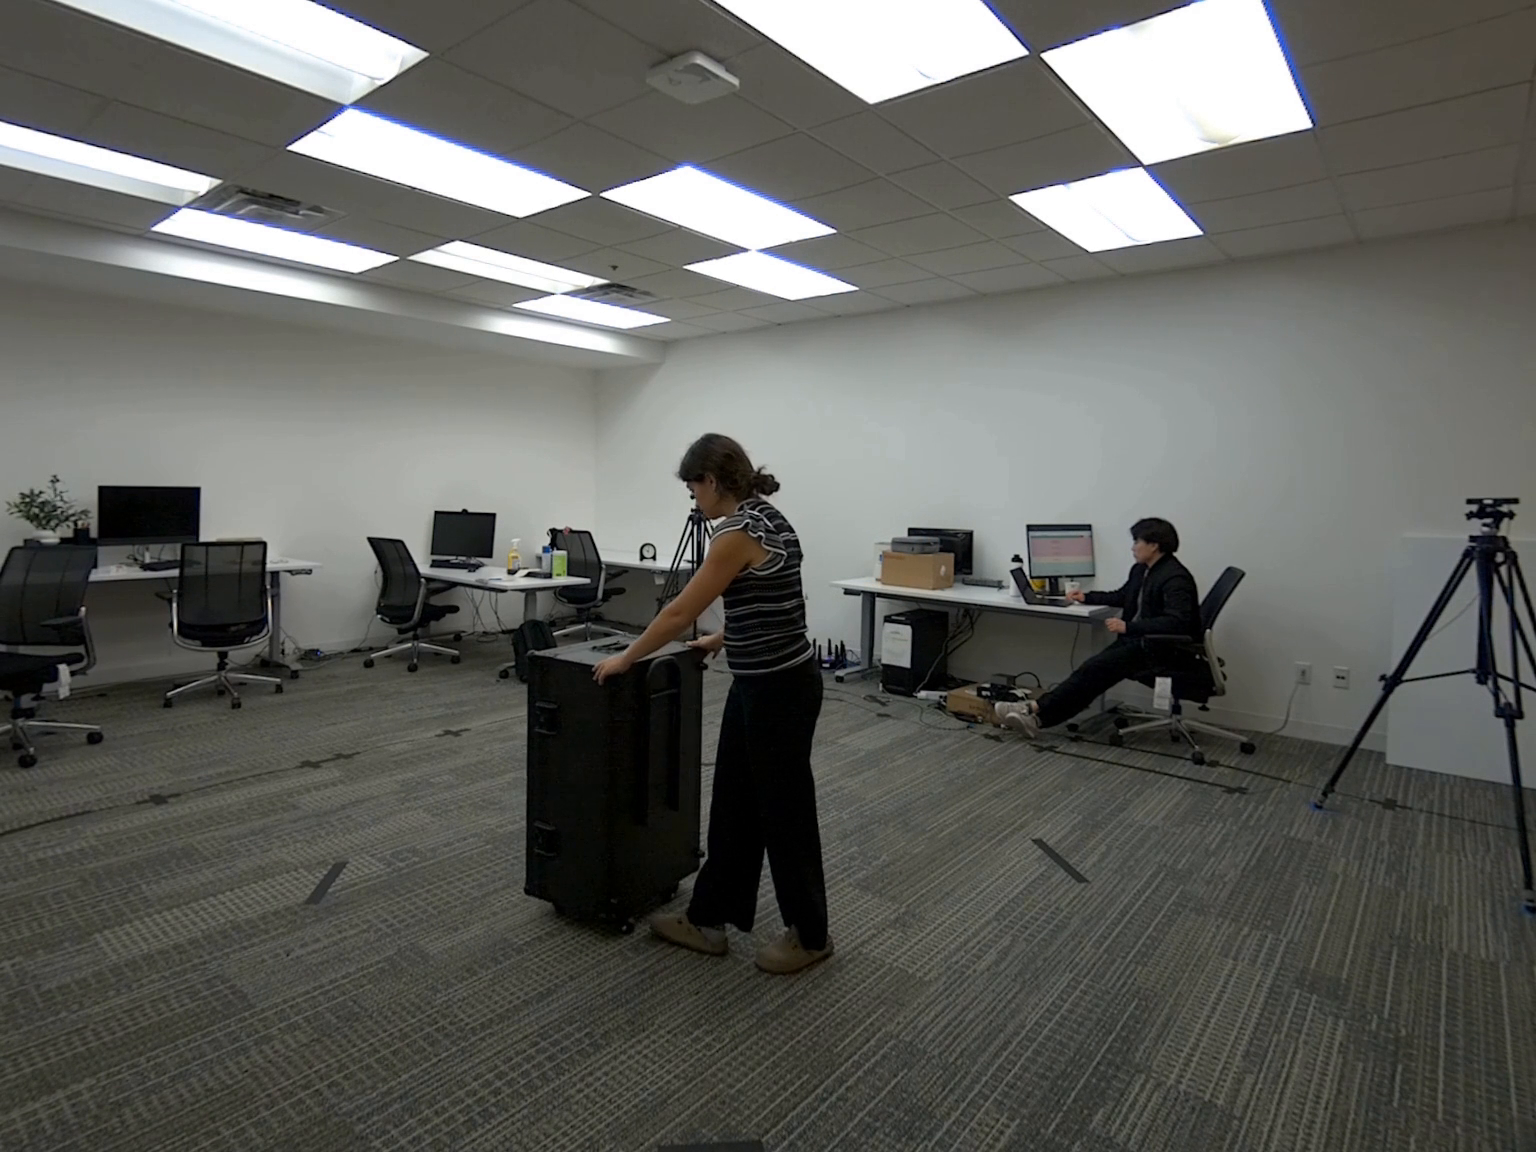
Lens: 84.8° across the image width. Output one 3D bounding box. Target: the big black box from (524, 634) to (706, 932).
[{"bbox_3d":[-0.504,0.664,2.823,0.408,0.859,0.507,4,4,32],"label":"big black box"}]
